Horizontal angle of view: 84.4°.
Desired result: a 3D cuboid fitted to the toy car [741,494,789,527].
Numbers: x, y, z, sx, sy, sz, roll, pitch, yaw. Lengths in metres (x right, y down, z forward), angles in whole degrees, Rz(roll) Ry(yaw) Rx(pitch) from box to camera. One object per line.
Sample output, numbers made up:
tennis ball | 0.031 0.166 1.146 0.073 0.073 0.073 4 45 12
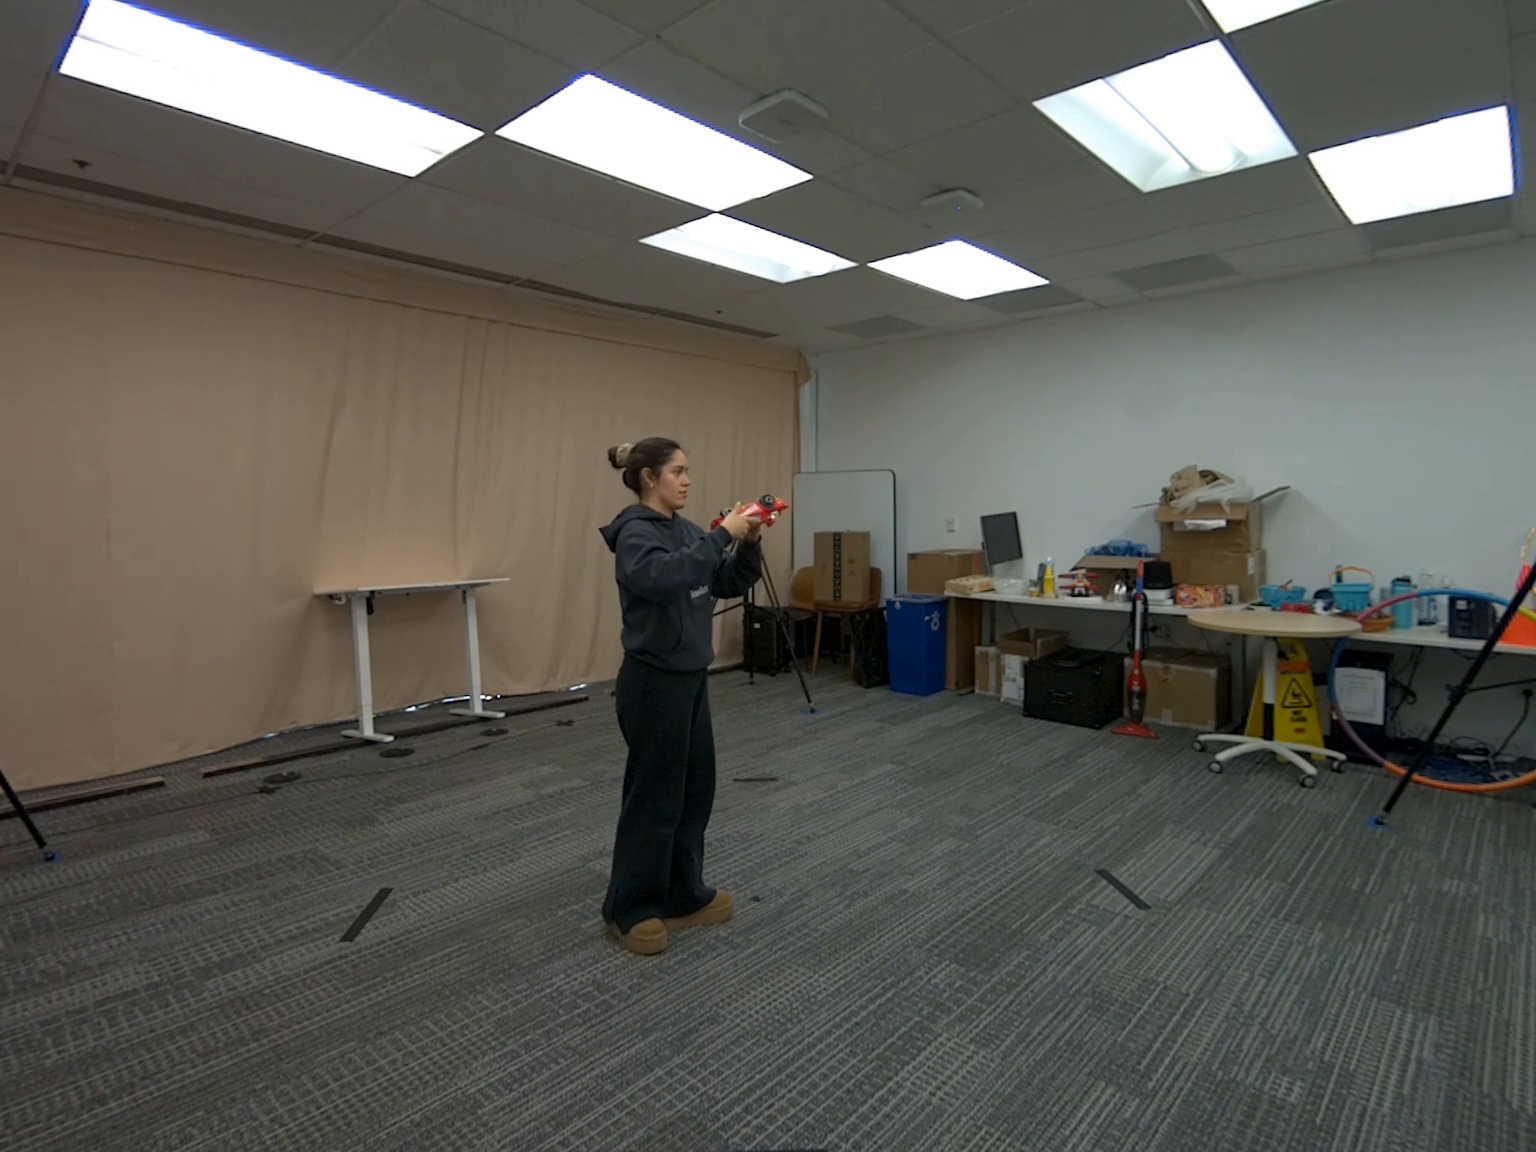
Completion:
toy car | -0.056 -0.191 2.625 0.249 0.084 0.131 -8 -17 -23
